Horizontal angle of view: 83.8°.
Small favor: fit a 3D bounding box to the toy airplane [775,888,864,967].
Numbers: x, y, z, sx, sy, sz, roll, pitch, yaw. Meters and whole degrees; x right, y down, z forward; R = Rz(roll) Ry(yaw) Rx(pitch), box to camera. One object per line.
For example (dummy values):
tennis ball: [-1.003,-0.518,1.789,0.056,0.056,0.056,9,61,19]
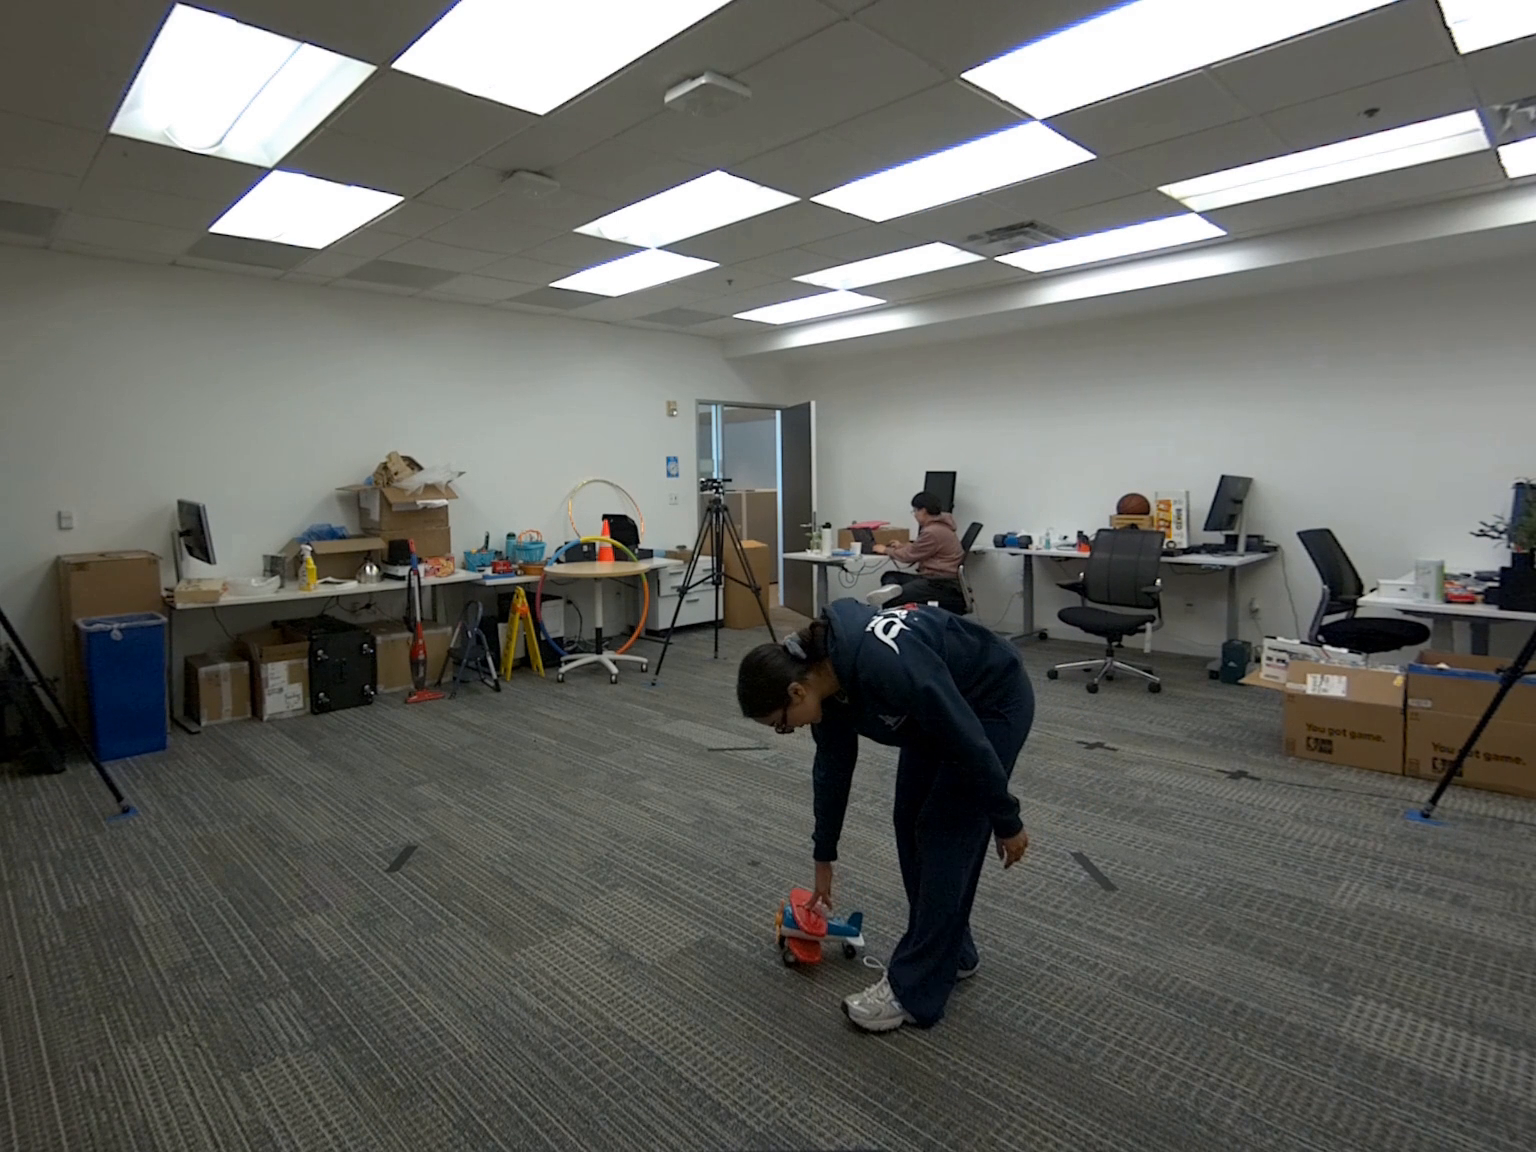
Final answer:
toy airplane: [0.145,1.037,2.514,0.253,0.155,0.258,-5,8,-31]
